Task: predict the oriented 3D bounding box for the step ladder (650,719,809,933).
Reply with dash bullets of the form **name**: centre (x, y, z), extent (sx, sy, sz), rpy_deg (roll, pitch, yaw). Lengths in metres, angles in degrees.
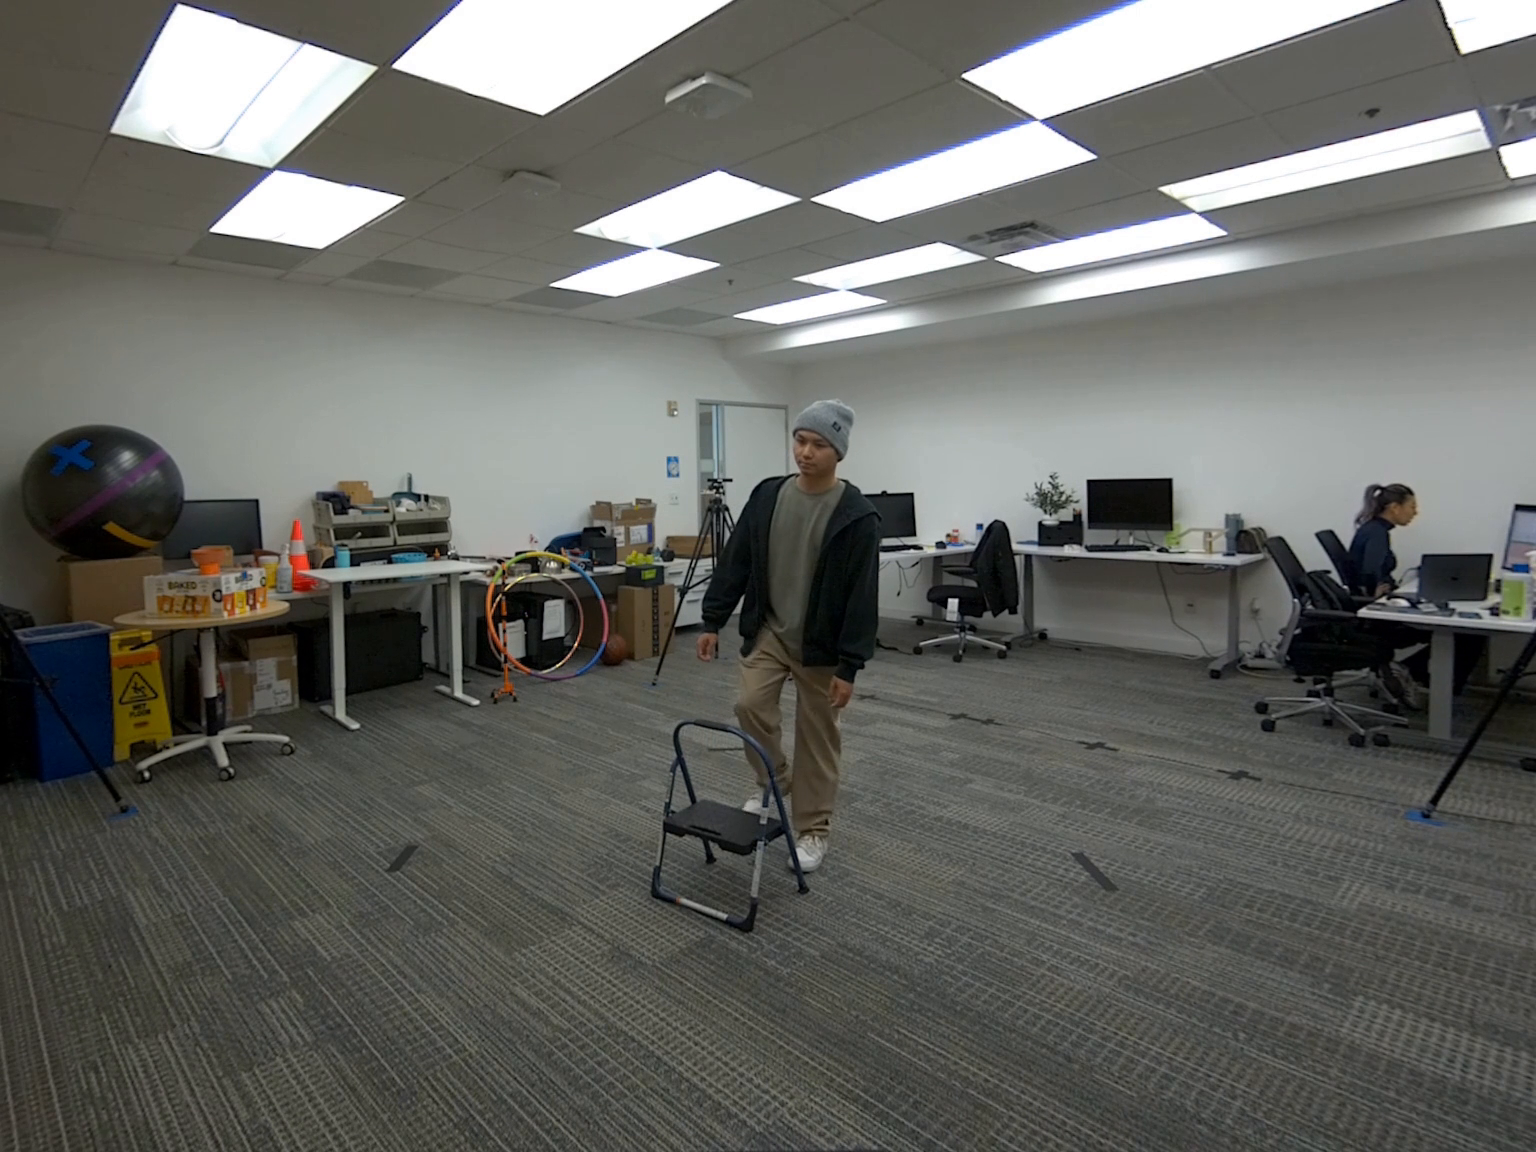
- **step ladder**: centre (-0.135, 0.772, 2.865), extent (0.443, 0.604, 0.341), rpy_deg (2, 5, 35)
